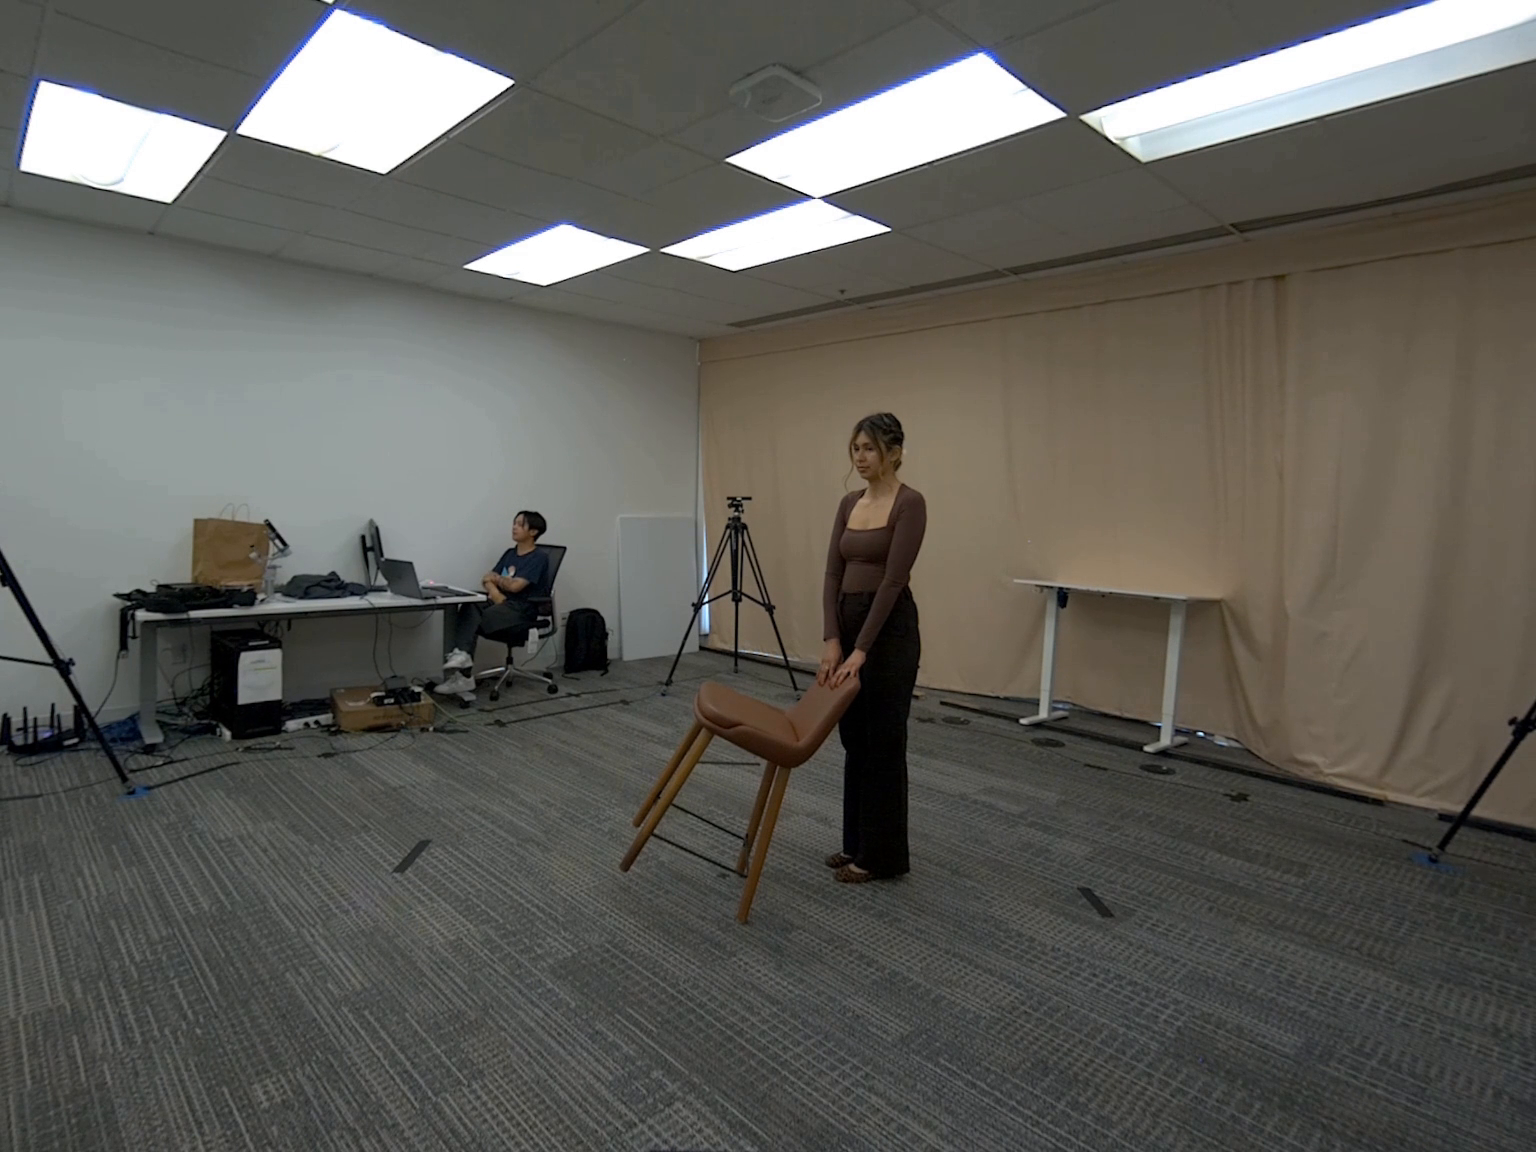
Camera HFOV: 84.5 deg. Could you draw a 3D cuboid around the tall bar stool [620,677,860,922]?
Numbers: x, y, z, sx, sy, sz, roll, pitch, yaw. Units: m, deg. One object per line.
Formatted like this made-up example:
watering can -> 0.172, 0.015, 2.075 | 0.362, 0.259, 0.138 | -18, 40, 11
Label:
tall bar stool -> -0.100, 0.643, 2.903 | 0.467, 0.889, 0.458 | 27, 3, -3
